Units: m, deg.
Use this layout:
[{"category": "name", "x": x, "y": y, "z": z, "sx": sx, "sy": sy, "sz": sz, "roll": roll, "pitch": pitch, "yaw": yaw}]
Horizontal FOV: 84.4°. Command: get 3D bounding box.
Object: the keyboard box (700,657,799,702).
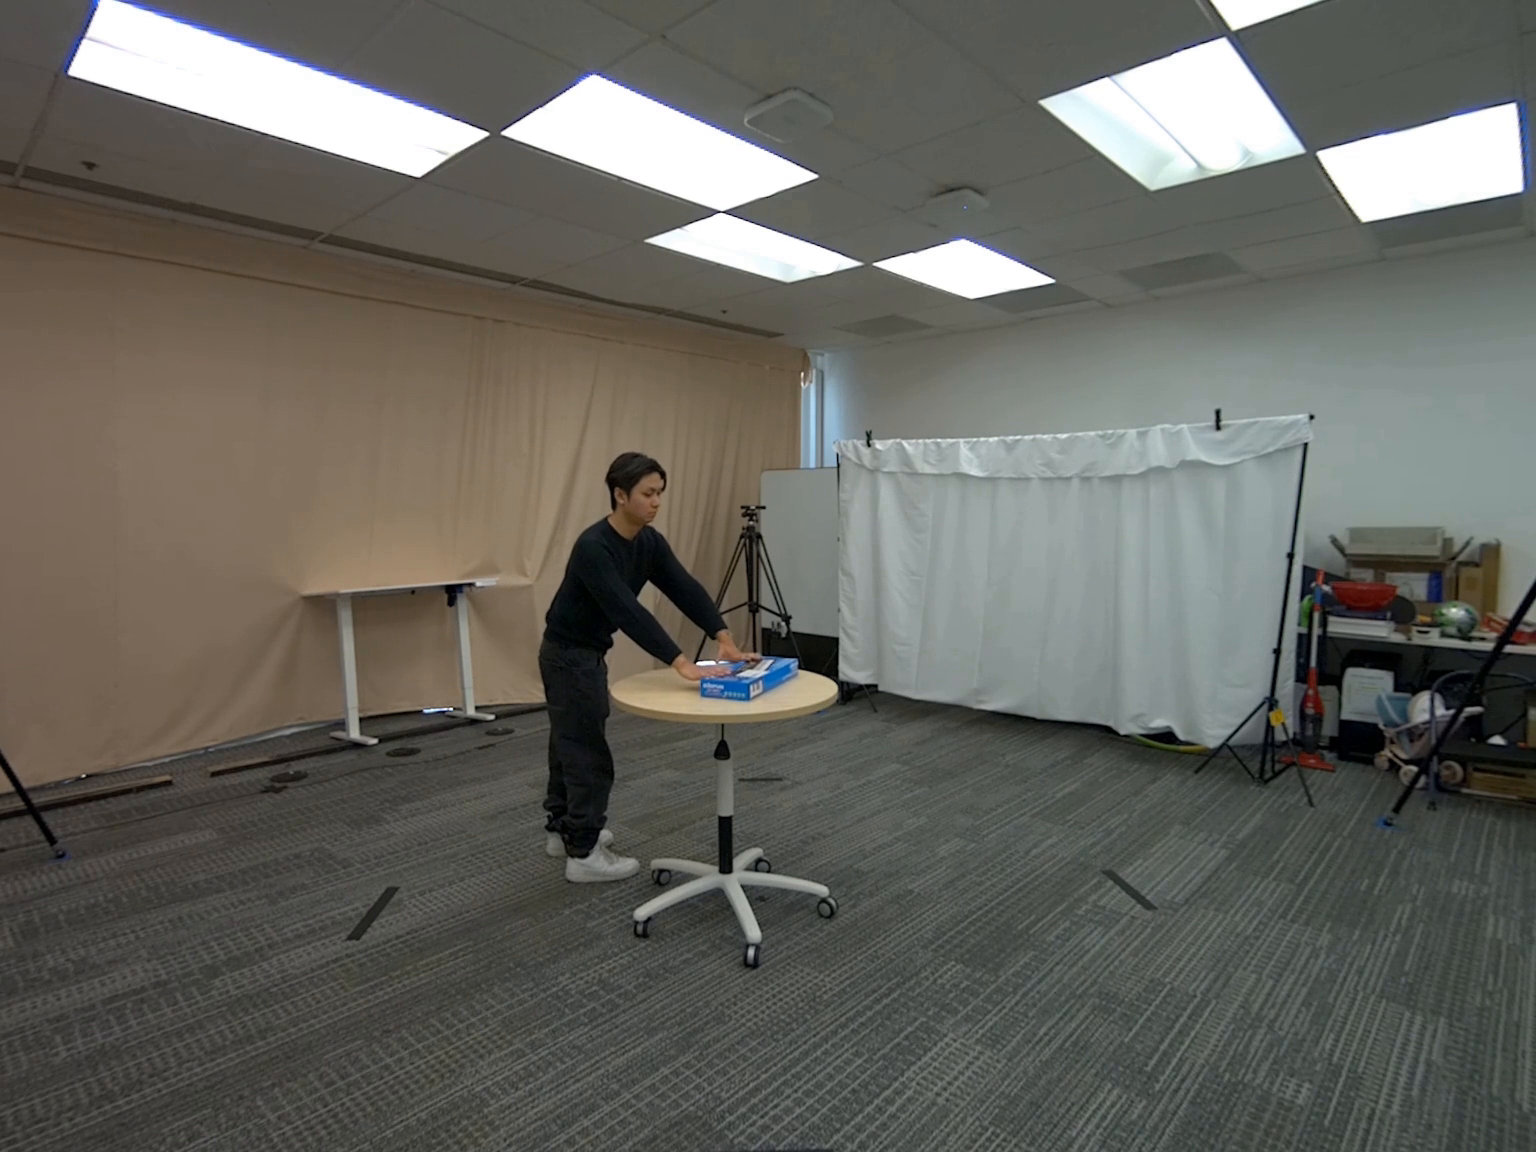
[{"category": "keyboard box", "x": -0.057, "y": 0.342, "z": 2.856, "sx": 0.180, "sy": 0.059, "sz": 0.427, "roll": 1, "pitch": 6, "yaw": 23}]
